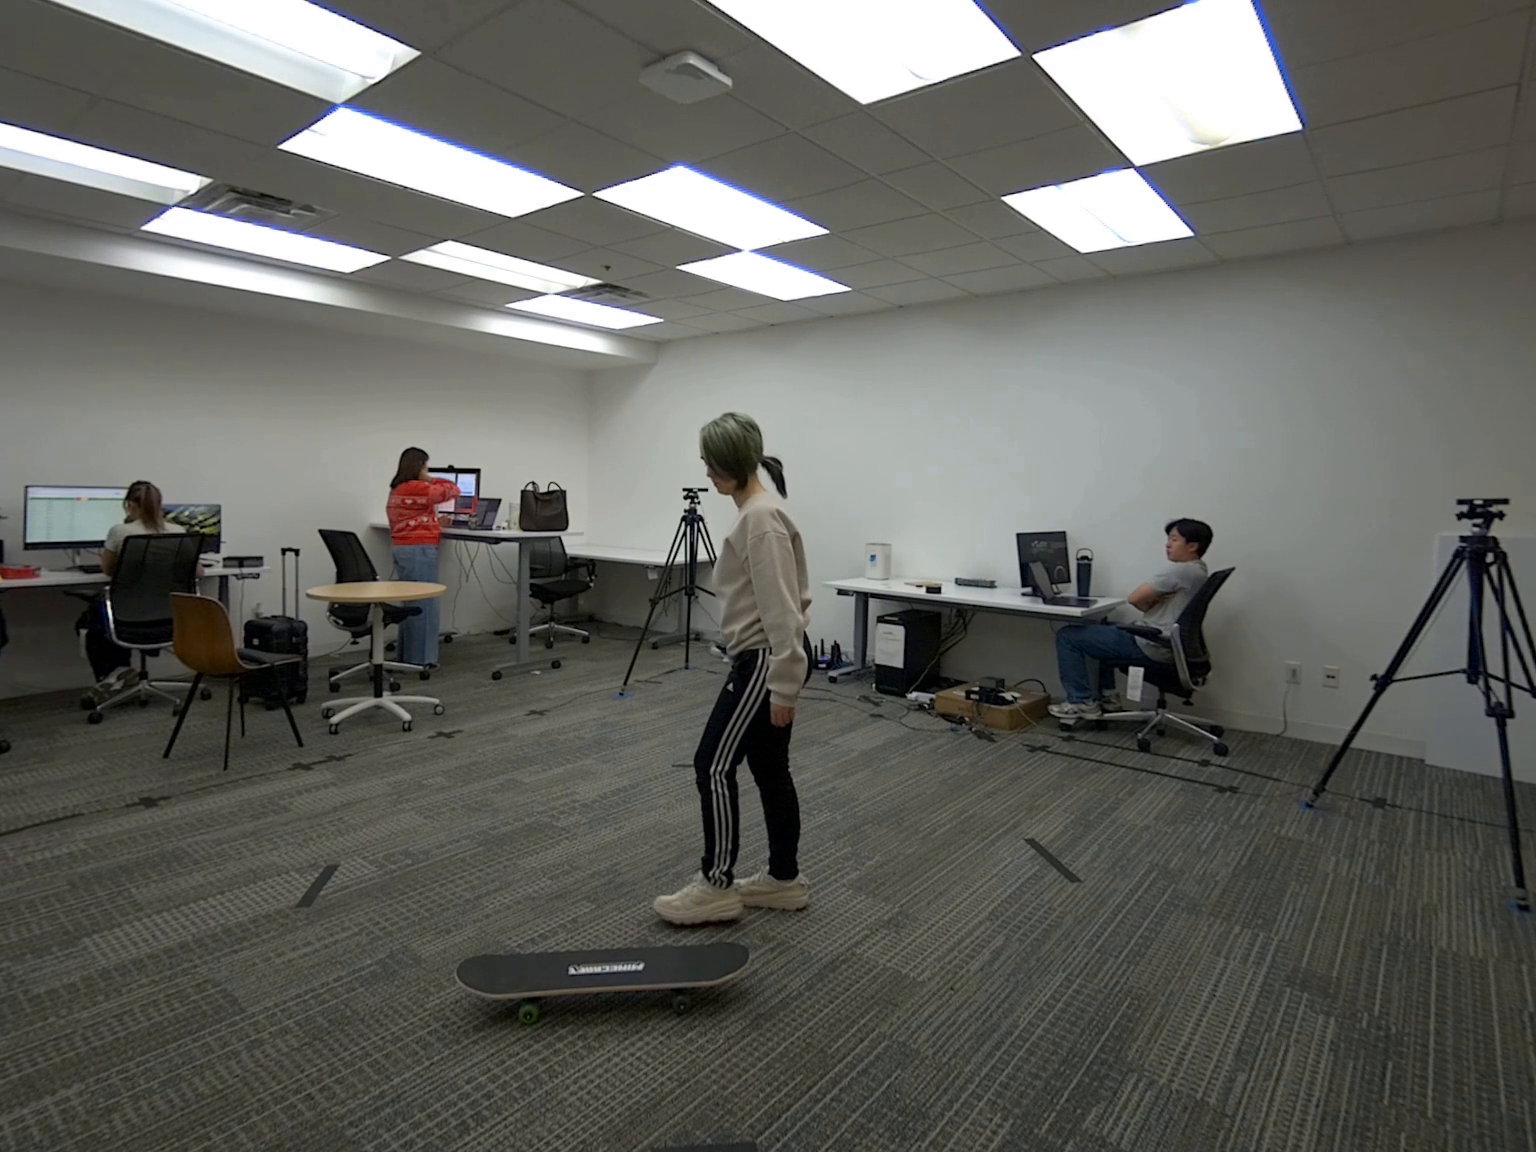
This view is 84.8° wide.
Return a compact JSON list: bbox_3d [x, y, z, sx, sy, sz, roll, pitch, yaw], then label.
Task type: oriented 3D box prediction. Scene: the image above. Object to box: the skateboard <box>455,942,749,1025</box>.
[{"bbox_3d":[-0.439,1.087,2.304,0.779,0.110,0.196,0,6,-8],"label":"skateboard"}]
